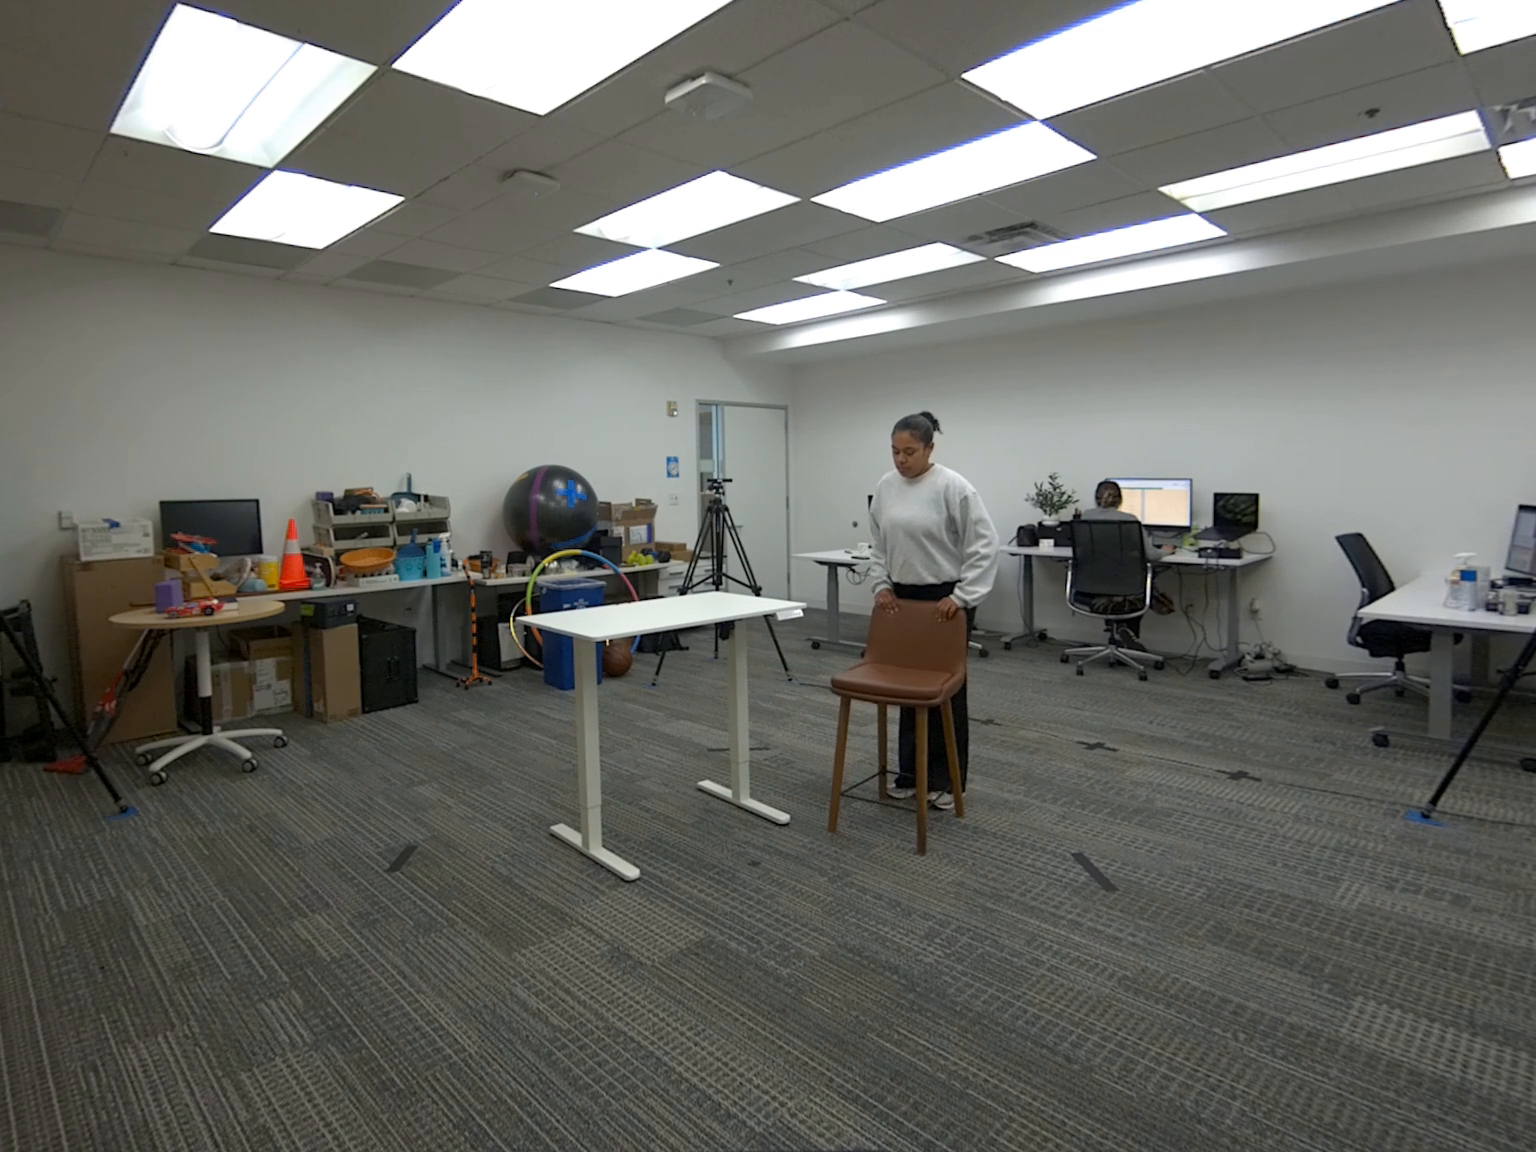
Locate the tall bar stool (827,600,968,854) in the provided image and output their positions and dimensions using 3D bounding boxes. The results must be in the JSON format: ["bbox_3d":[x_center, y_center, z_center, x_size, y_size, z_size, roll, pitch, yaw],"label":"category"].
[{"bbox_3d":[0.521,0.562,3.419,0.469,0.889,0.455,2,2,35],"label":"tall bar stool"}]
